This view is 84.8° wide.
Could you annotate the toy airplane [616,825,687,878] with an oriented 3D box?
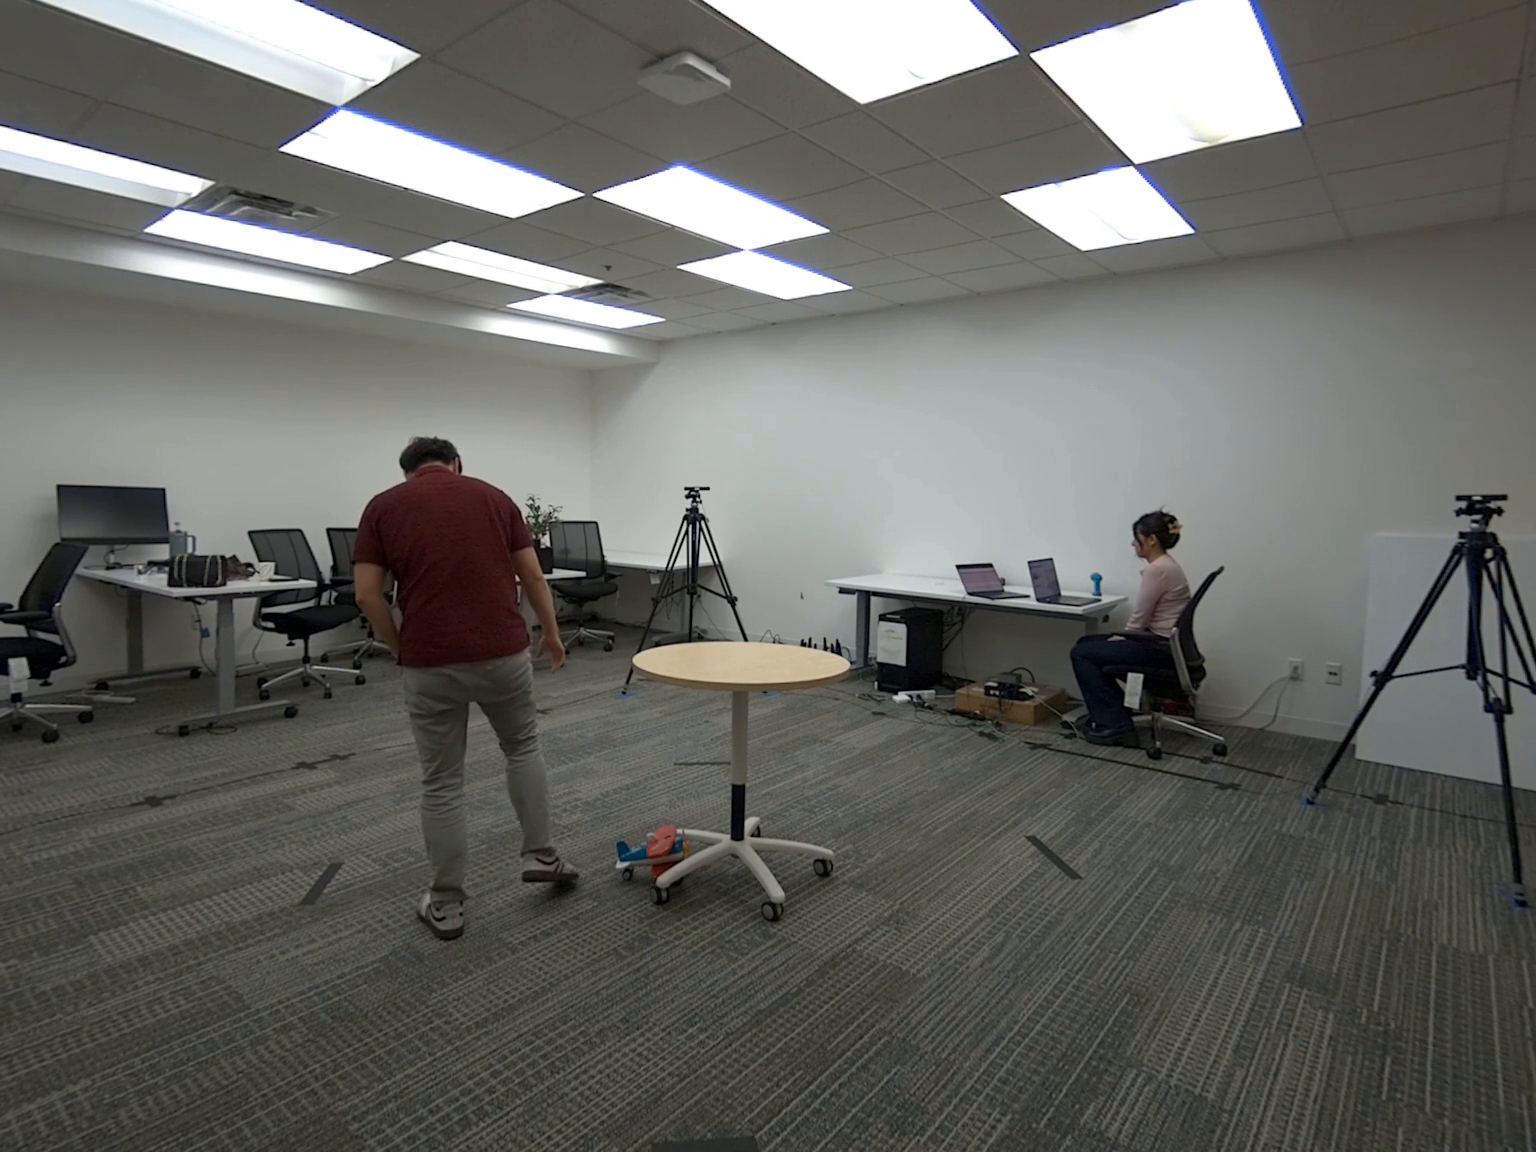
[{"bbox_3d":[-0.416,0.999,3.011,0.253,0.156,0.258,-1,5,-26],"label":"toy airplane"}]
